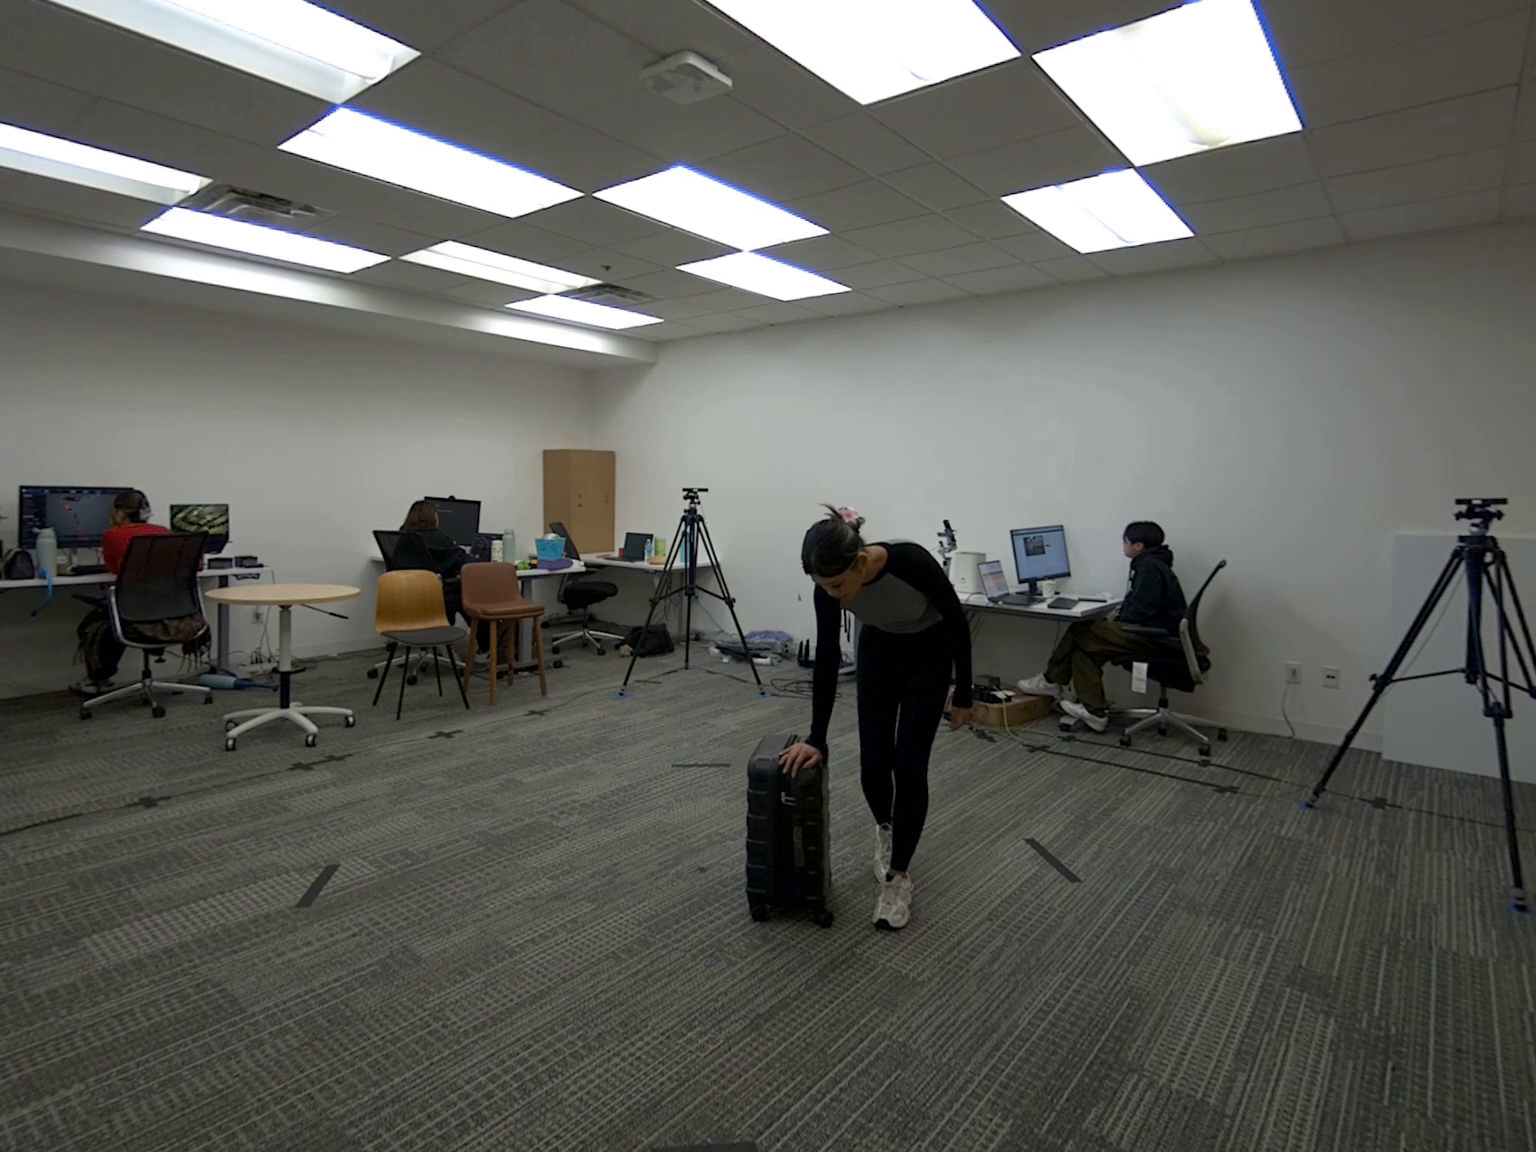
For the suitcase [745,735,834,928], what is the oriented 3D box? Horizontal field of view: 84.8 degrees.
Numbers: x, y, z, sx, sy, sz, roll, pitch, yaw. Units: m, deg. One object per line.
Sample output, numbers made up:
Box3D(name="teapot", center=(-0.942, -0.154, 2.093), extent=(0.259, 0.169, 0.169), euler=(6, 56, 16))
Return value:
Box3D(name="suitcase", center=(0.063, 0.823, 2.859), extent=(0.251, 0.547, 0.373), euler=(0, 5, 8))
